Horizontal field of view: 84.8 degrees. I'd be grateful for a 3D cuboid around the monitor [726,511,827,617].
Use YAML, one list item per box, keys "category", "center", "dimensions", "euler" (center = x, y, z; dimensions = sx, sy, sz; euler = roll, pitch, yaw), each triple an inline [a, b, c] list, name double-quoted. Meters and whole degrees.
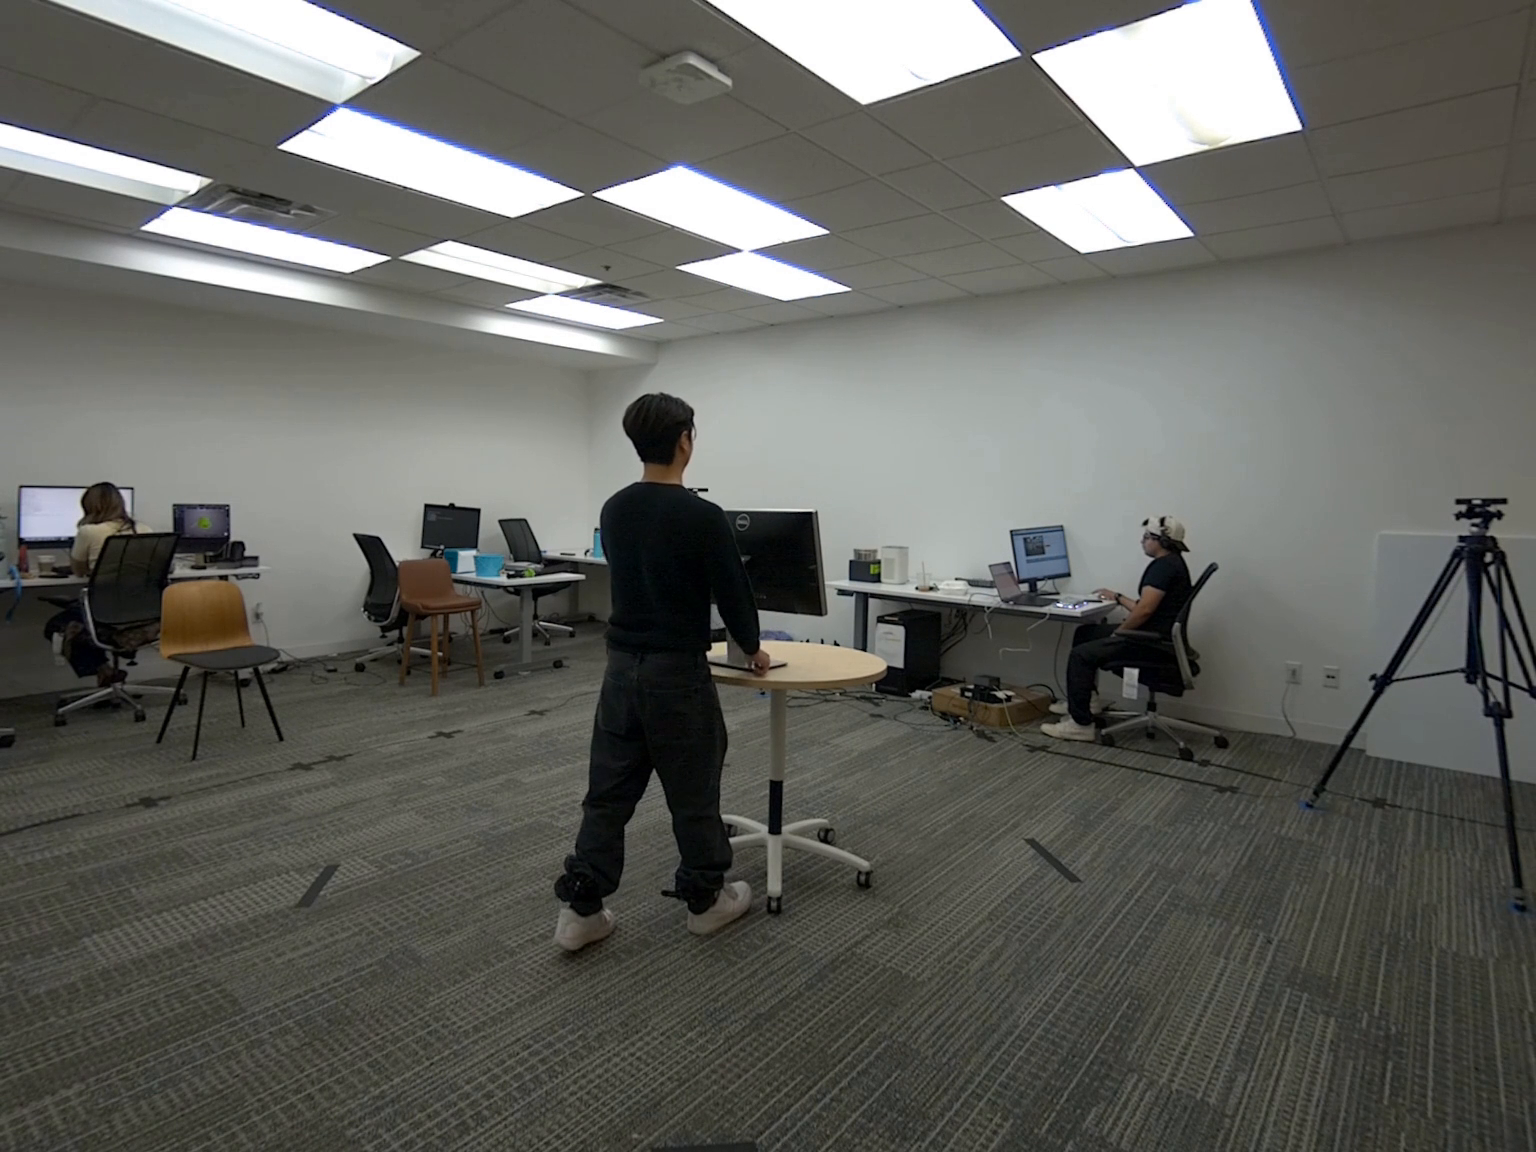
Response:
- category: "monitor"
  center: [-0.087, 0.034, 2.955]
  dimensions: [0.557, 0.522, 0.181]
  euler: [4, 3, 37]
